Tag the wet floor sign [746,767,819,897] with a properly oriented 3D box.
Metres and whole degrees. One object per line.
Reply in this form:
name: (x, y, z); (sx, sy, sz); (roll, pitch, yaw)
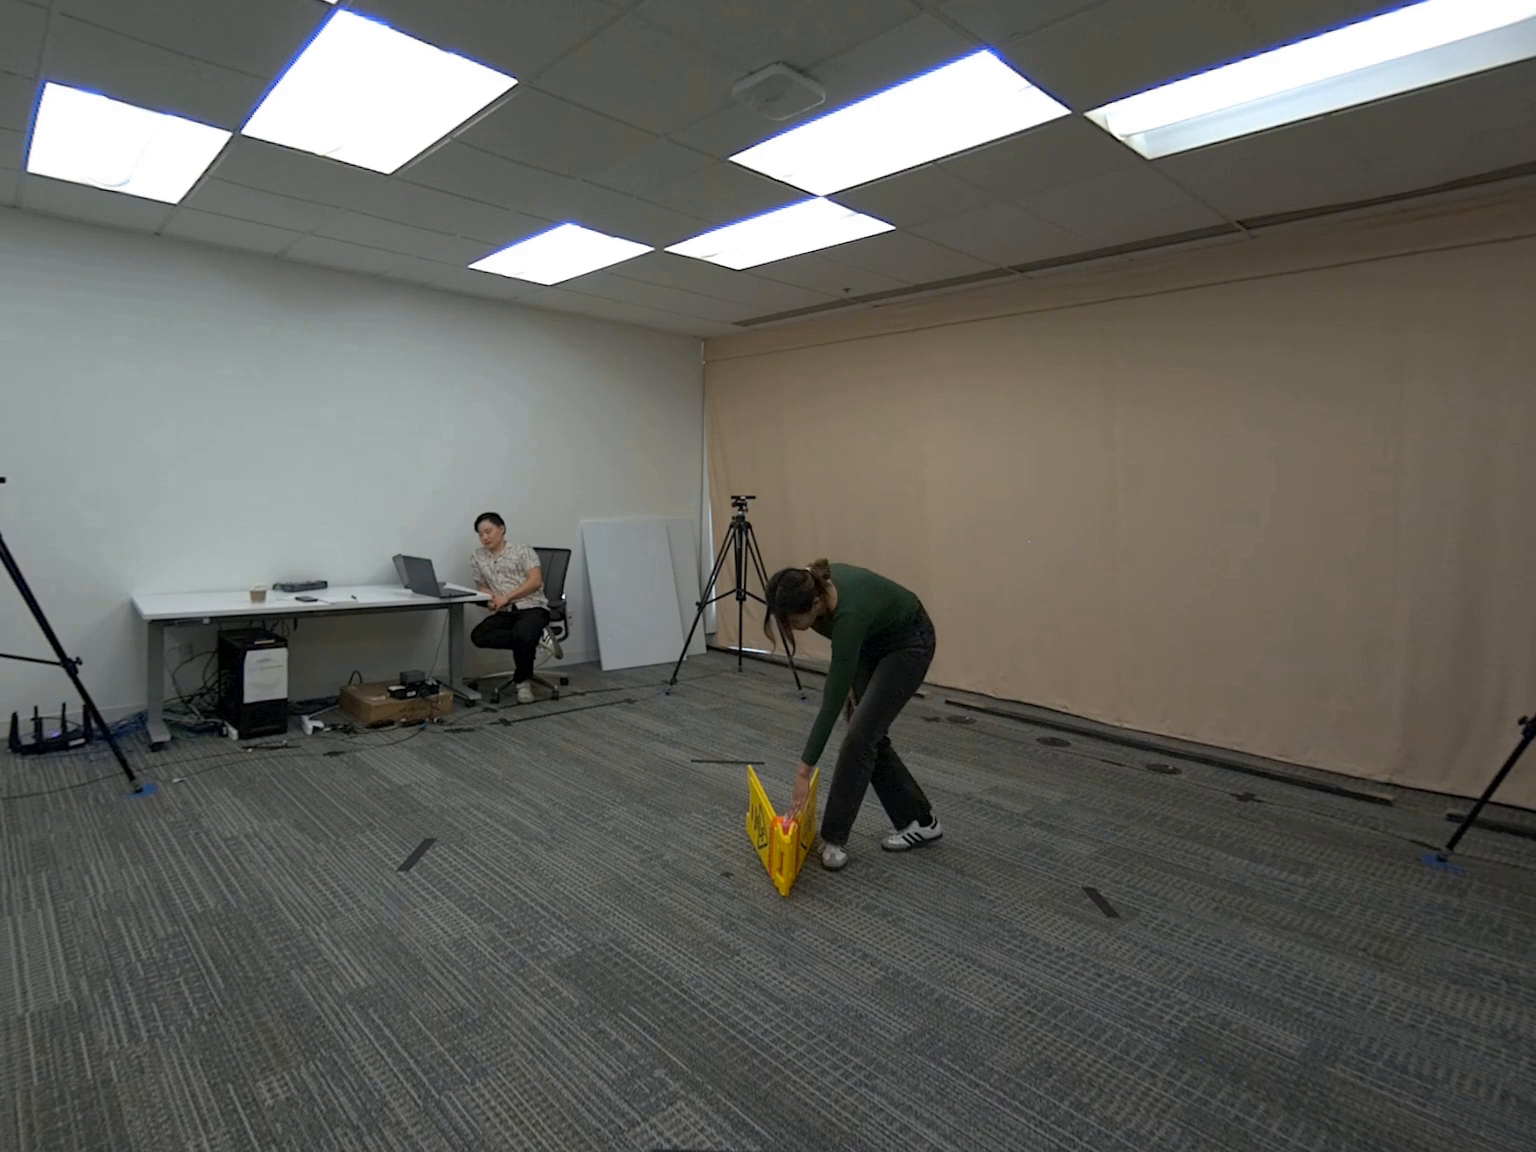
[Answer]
wet floor sign: (0.053, 0.965, 3.192); (0.290, 0.281, 0.649); (2, 7, -1)
